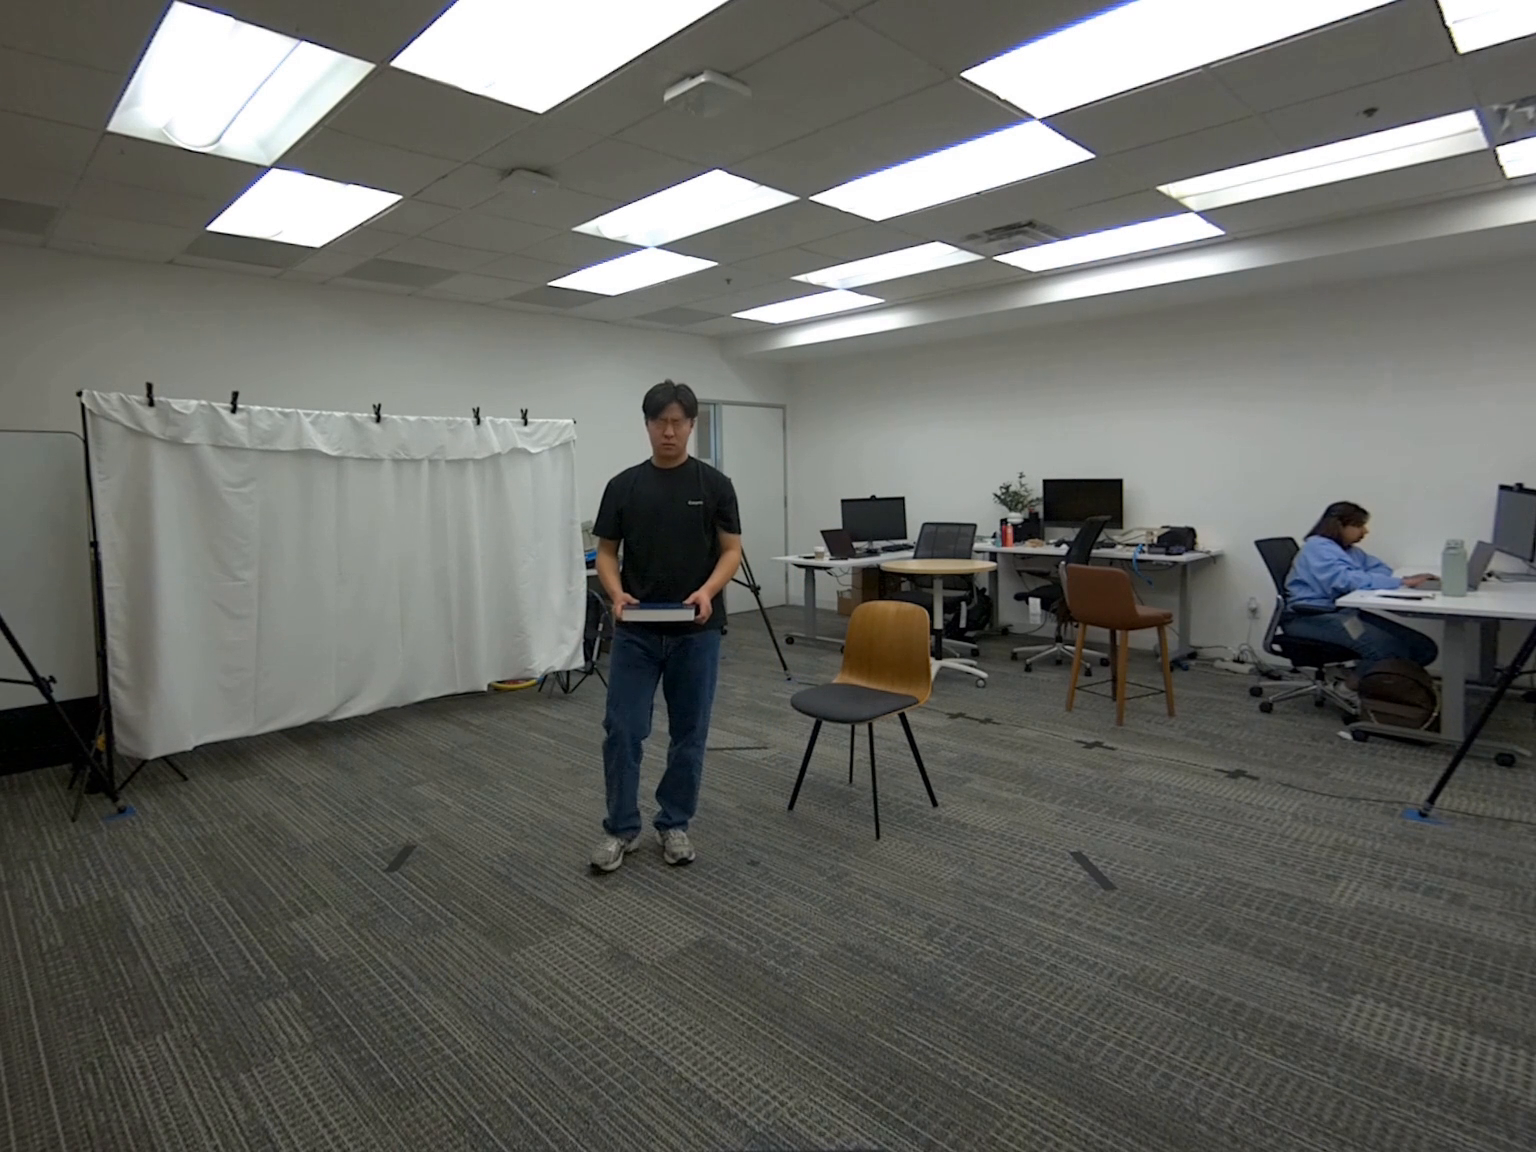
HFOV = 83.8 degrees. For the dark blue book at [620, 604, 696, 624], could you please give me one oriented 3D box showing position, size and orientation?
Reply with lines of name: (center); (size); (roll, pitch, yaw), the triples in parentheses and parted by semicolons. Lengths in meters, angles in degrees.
dark blue book: (-0.391, 0.126, 2.925); (0.244, 0.045, 0.165); (1, 5, -5)
